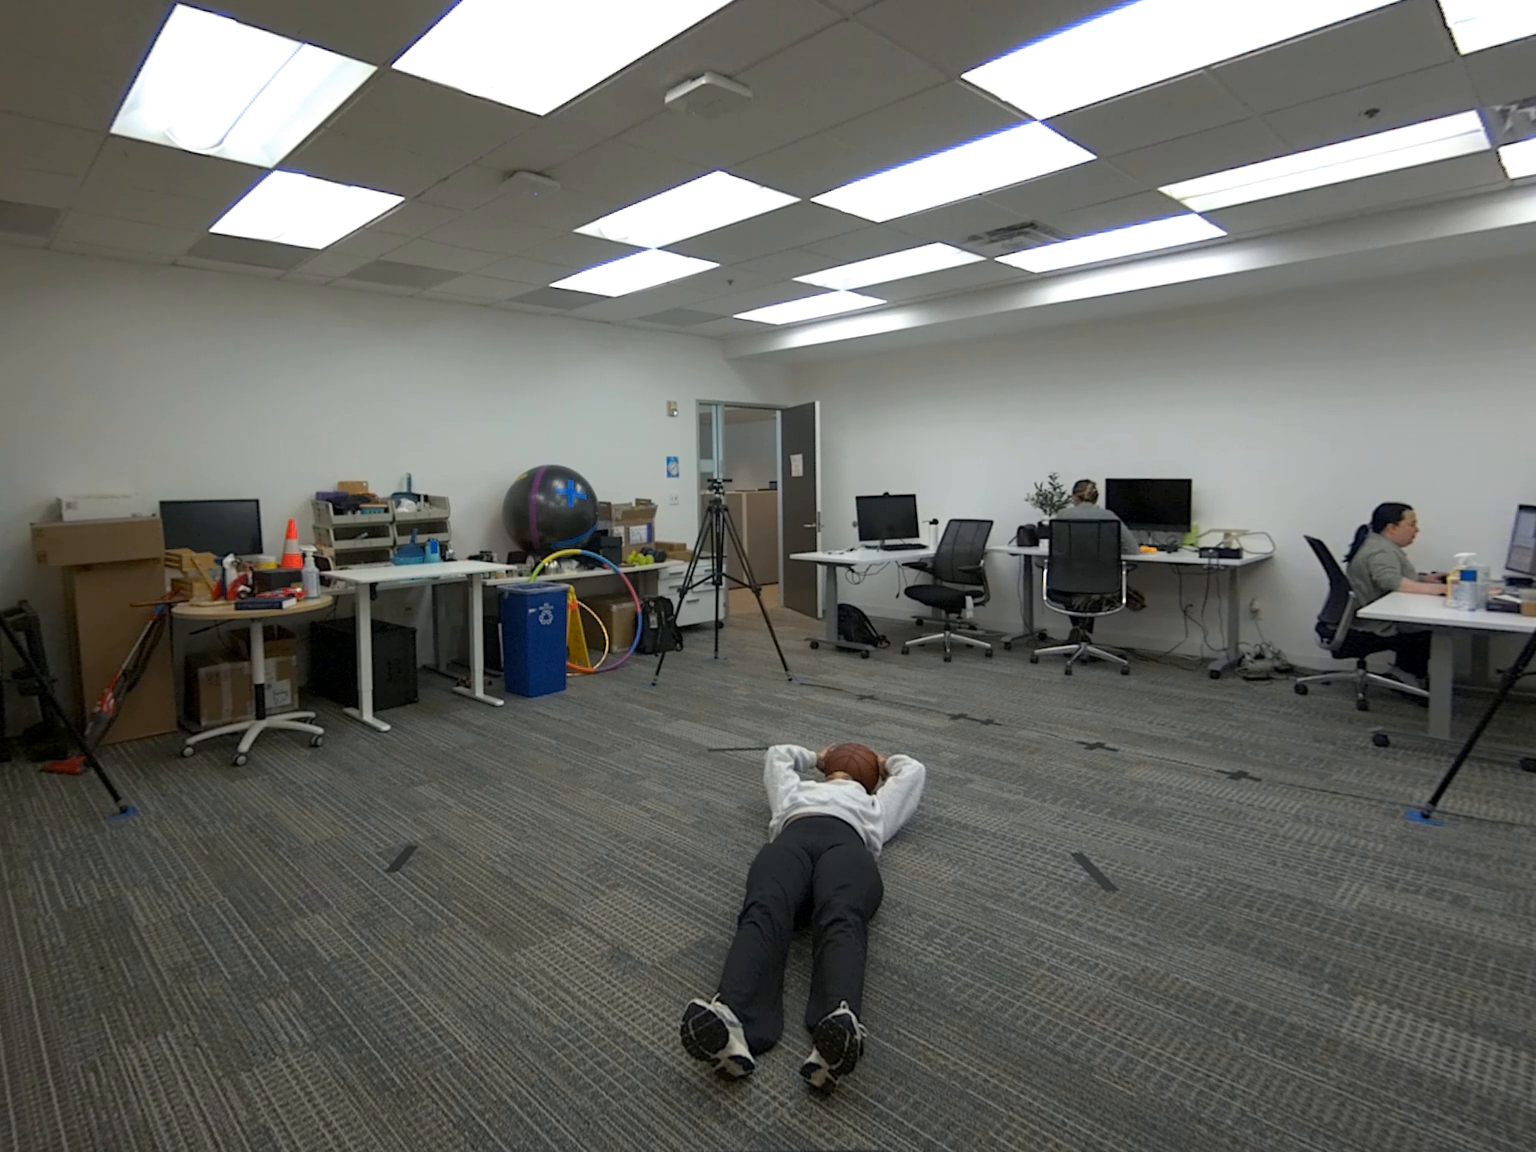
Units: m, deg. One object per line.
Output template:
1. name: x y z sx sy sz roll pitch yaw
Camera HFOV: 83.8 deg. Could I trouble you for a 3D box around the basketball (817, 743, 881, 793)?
1. basketball: 0.371 0.851 3.725 0.236 0.235 0.236 -4 2 -2
